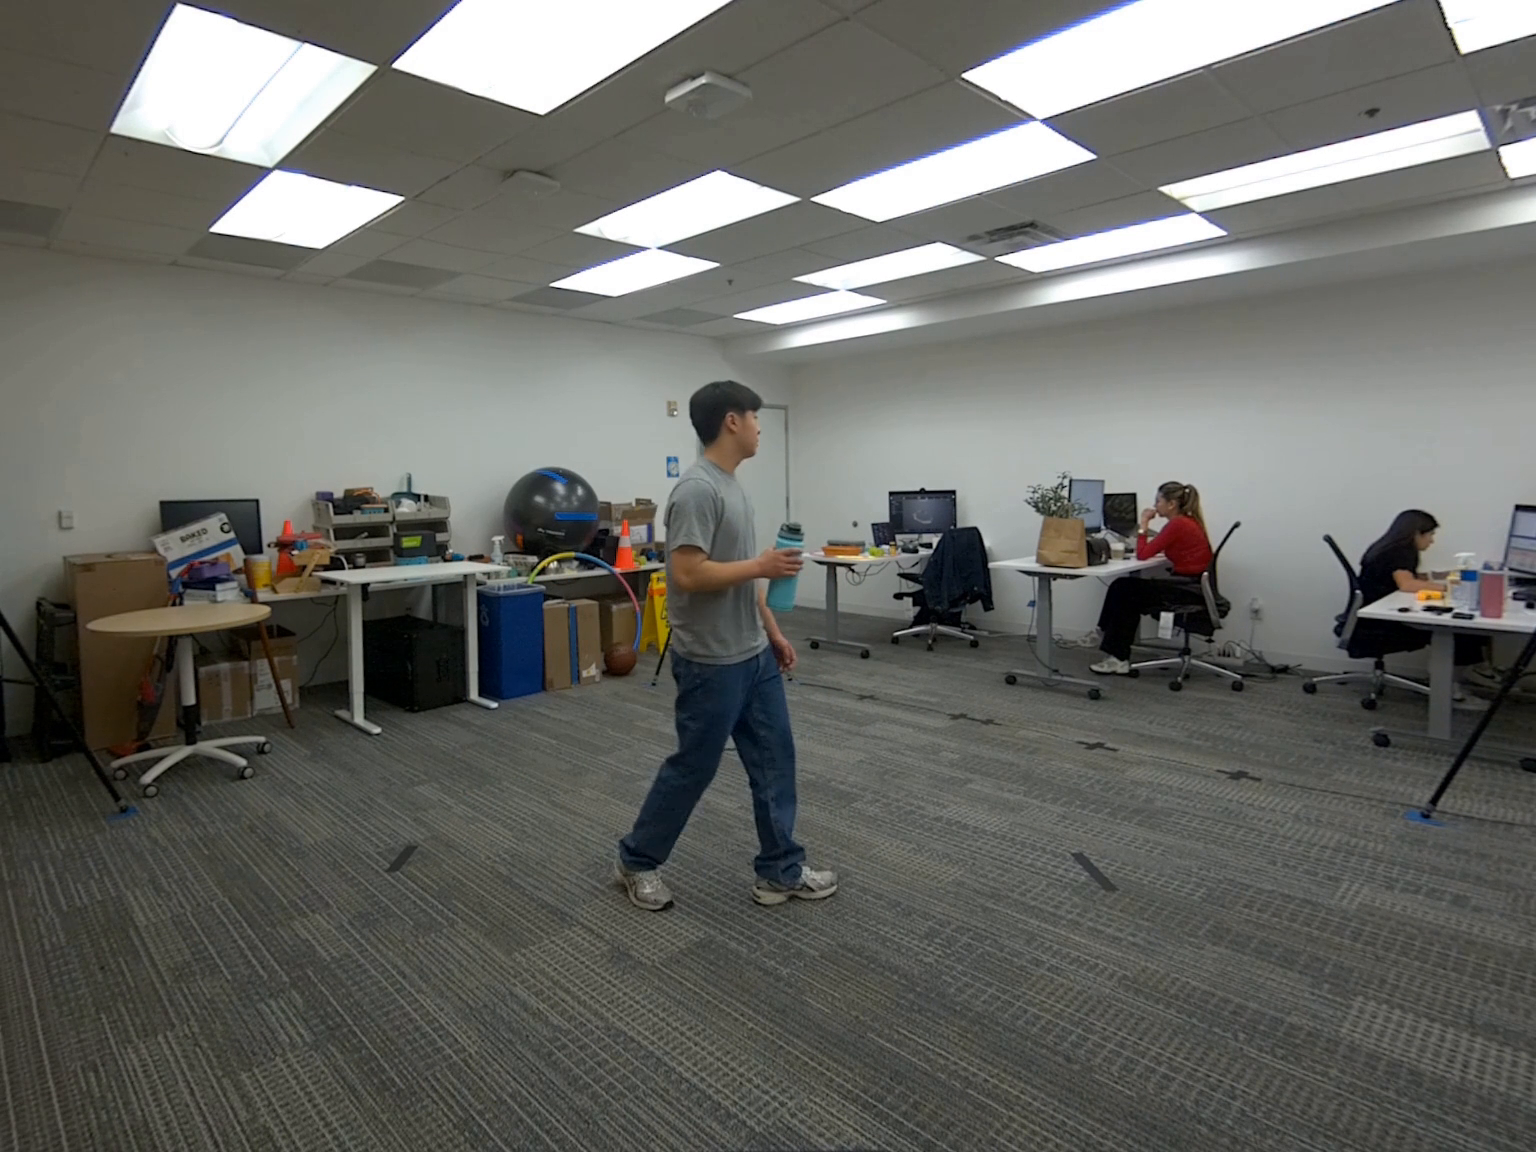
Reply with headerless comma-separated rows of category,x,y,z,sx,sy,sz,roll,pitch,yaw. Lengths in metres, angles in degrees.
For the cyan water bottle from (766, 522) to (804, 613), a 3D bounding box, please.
cyan water bottle,0.053,-0.042,2.721,0.092,0.282,0.093,9,4,-3
